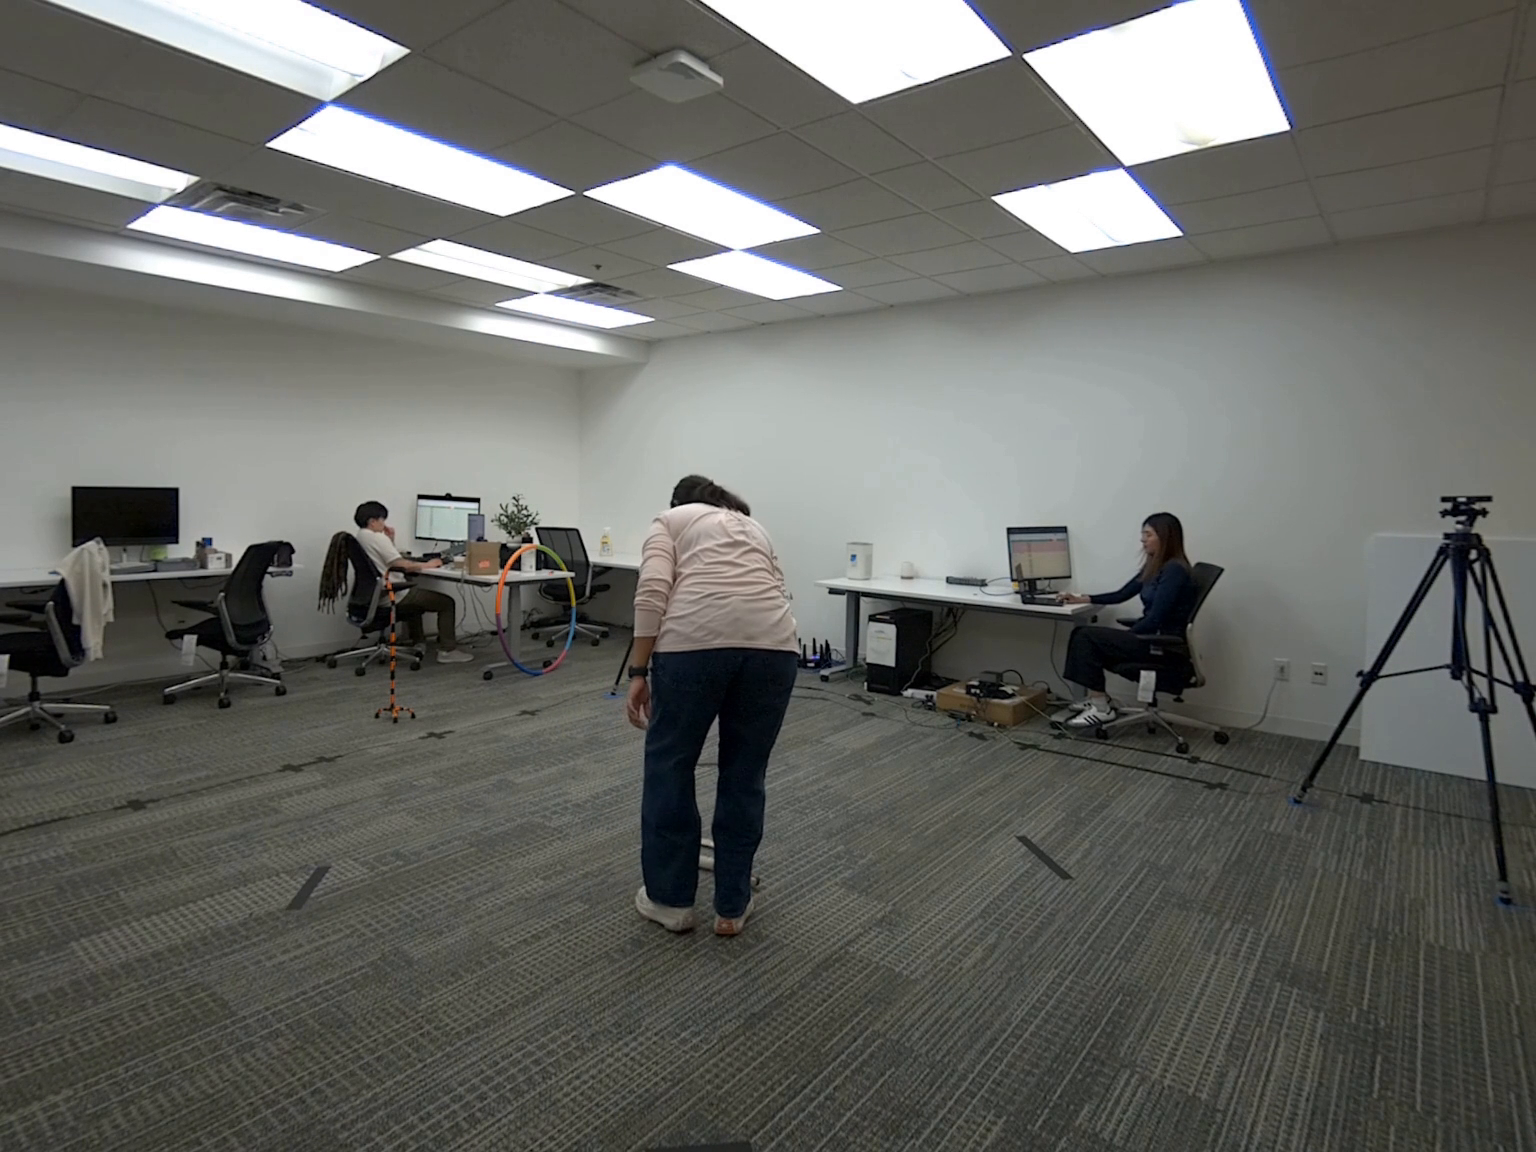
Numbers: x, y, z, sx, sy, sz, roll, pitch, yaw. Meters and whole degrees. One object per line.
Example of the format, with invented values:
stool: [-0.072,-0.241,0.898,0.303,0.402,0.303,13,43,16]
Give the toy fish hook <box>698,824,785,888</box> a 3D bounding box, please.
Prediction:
toy fish hook: [-0.208,1.034,3.151,0.524,0.048,0.218,6,9,41]
